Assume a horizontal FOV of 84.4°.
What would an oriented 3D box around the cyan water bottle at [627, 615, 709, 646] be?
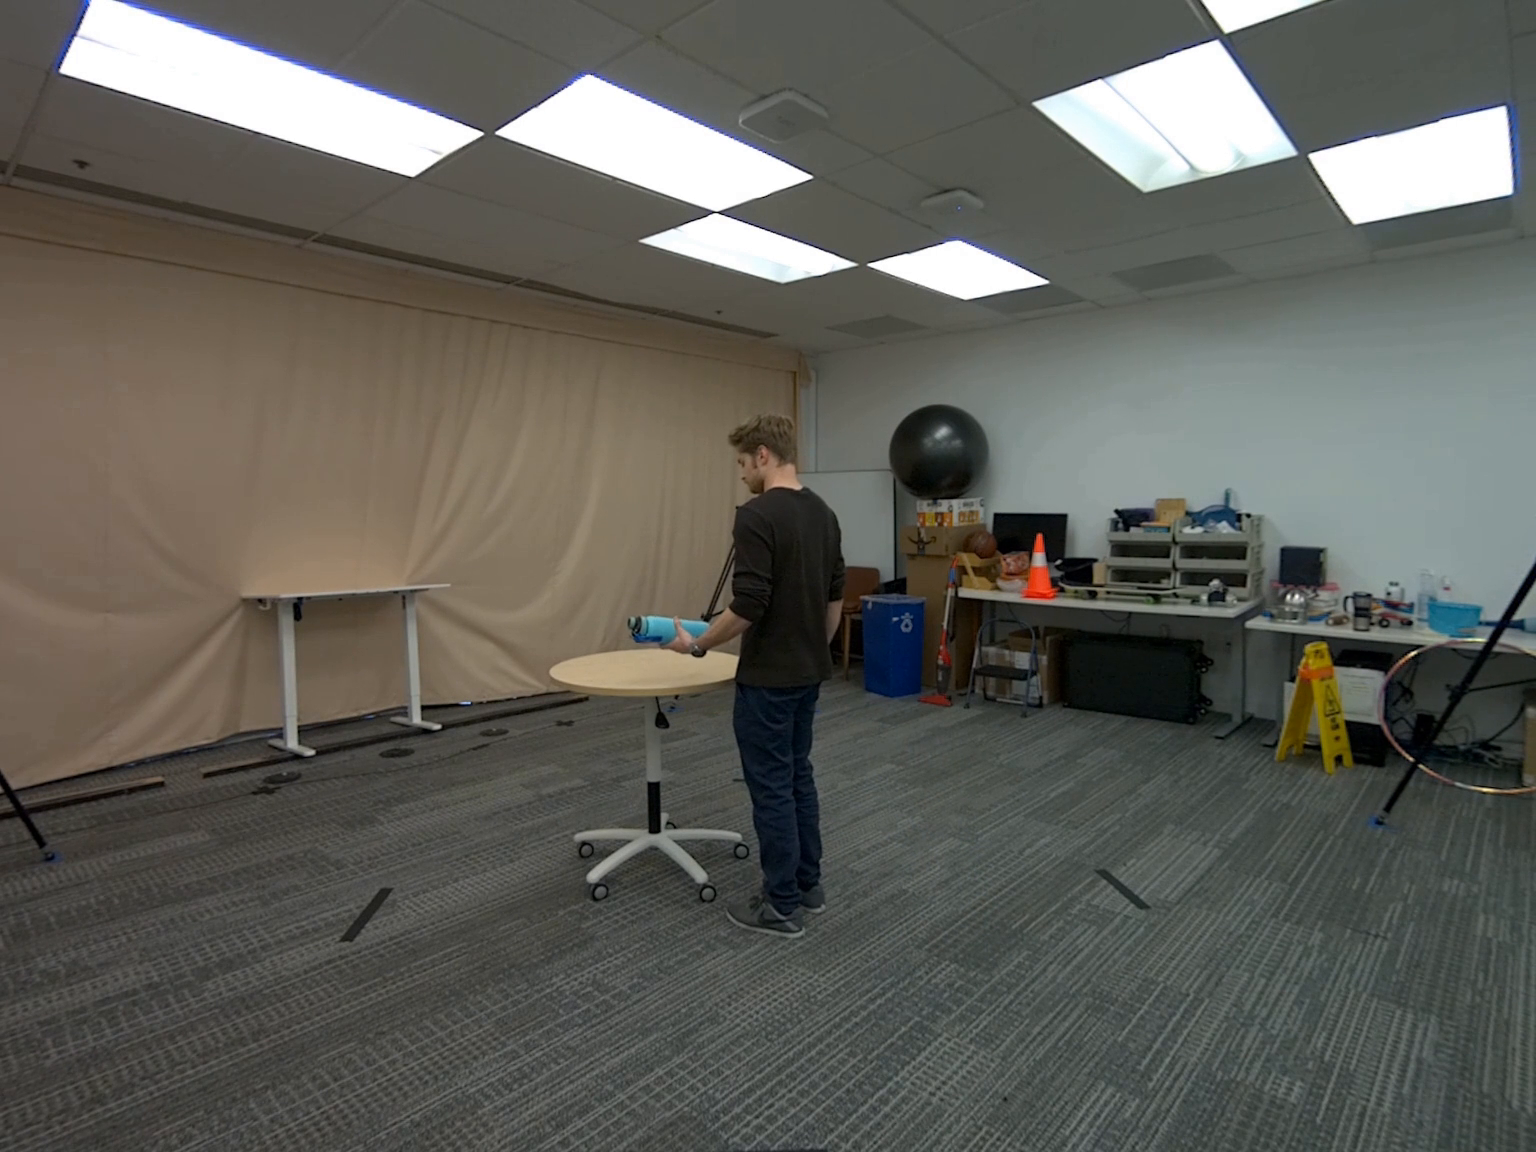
[{"bbox_3d":[-0.330,0.191,2.827,0.276,0.092,0.095,8,0,-24],"label":"cyan water bottle"}]
